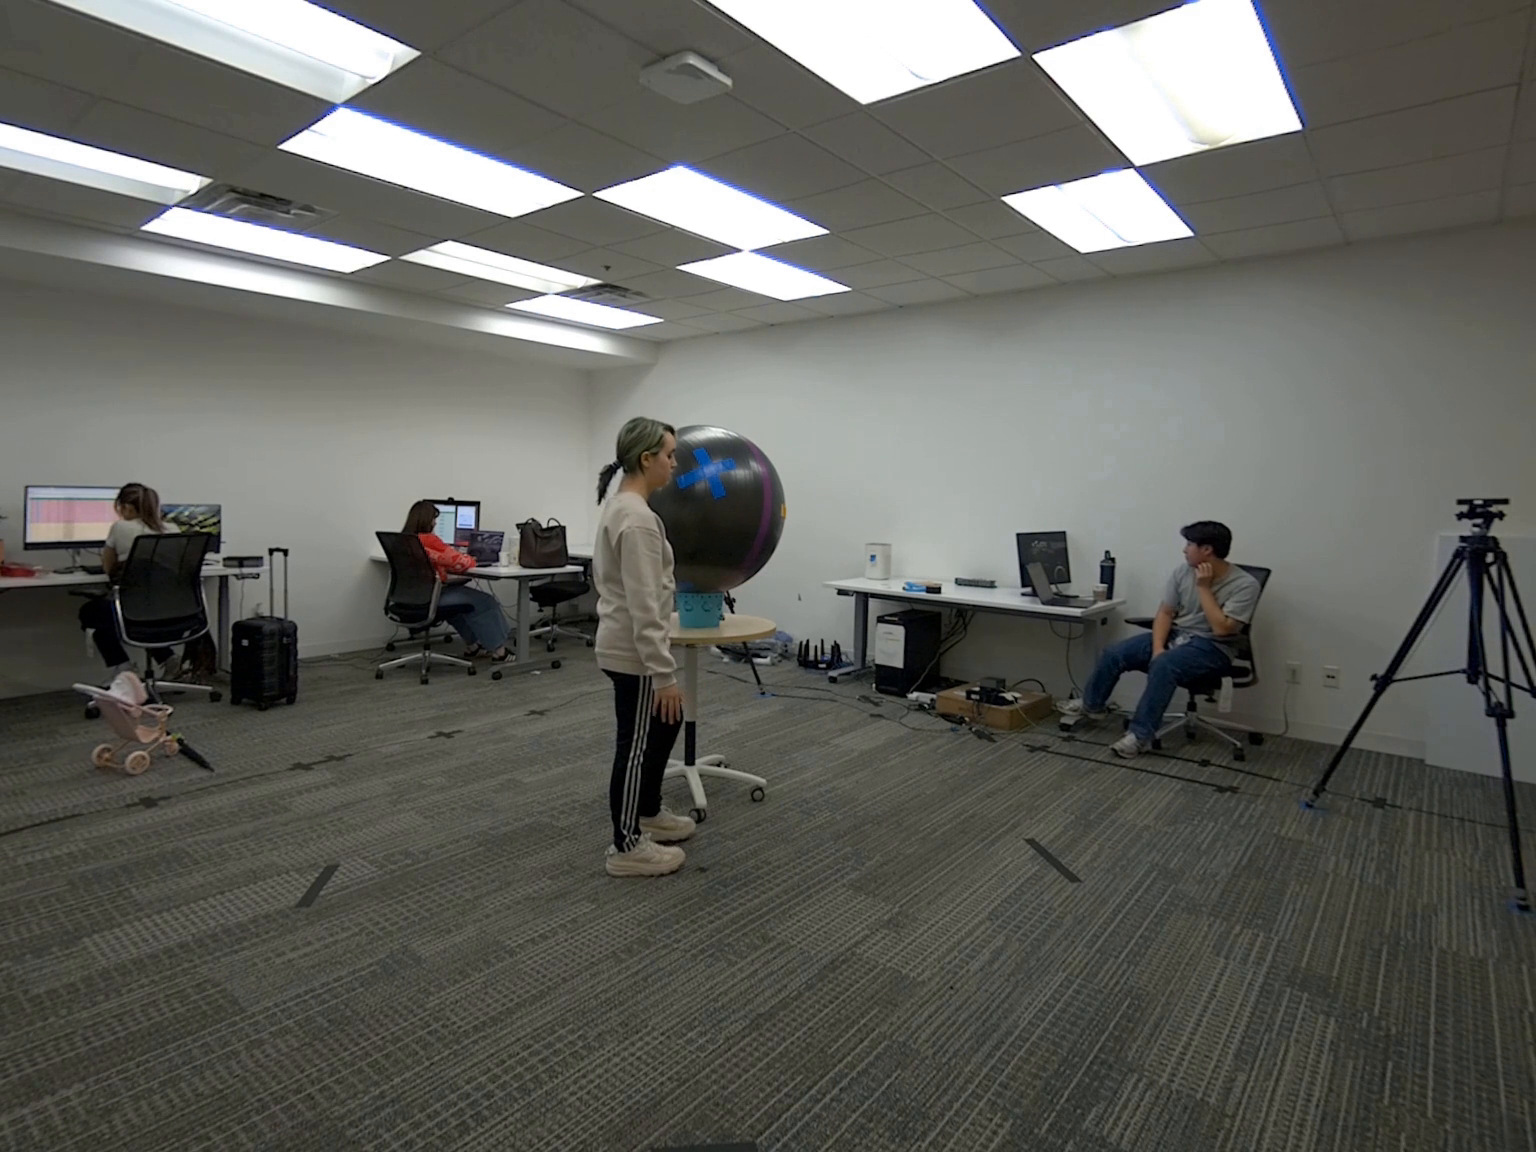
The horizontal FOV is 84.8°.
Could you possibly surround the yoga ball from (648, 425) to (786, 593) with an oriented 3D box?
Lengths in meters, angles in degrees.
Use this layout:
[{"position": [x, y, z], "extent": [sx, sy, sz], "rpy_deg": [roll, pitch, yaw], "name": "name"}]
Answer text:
[{"position": [-0.309, -0.294, 3.799], "extent": [0.757, 0.756, 0.762], "rpy_deg": [1, 4, -2], "name": "yoga ball"}]
